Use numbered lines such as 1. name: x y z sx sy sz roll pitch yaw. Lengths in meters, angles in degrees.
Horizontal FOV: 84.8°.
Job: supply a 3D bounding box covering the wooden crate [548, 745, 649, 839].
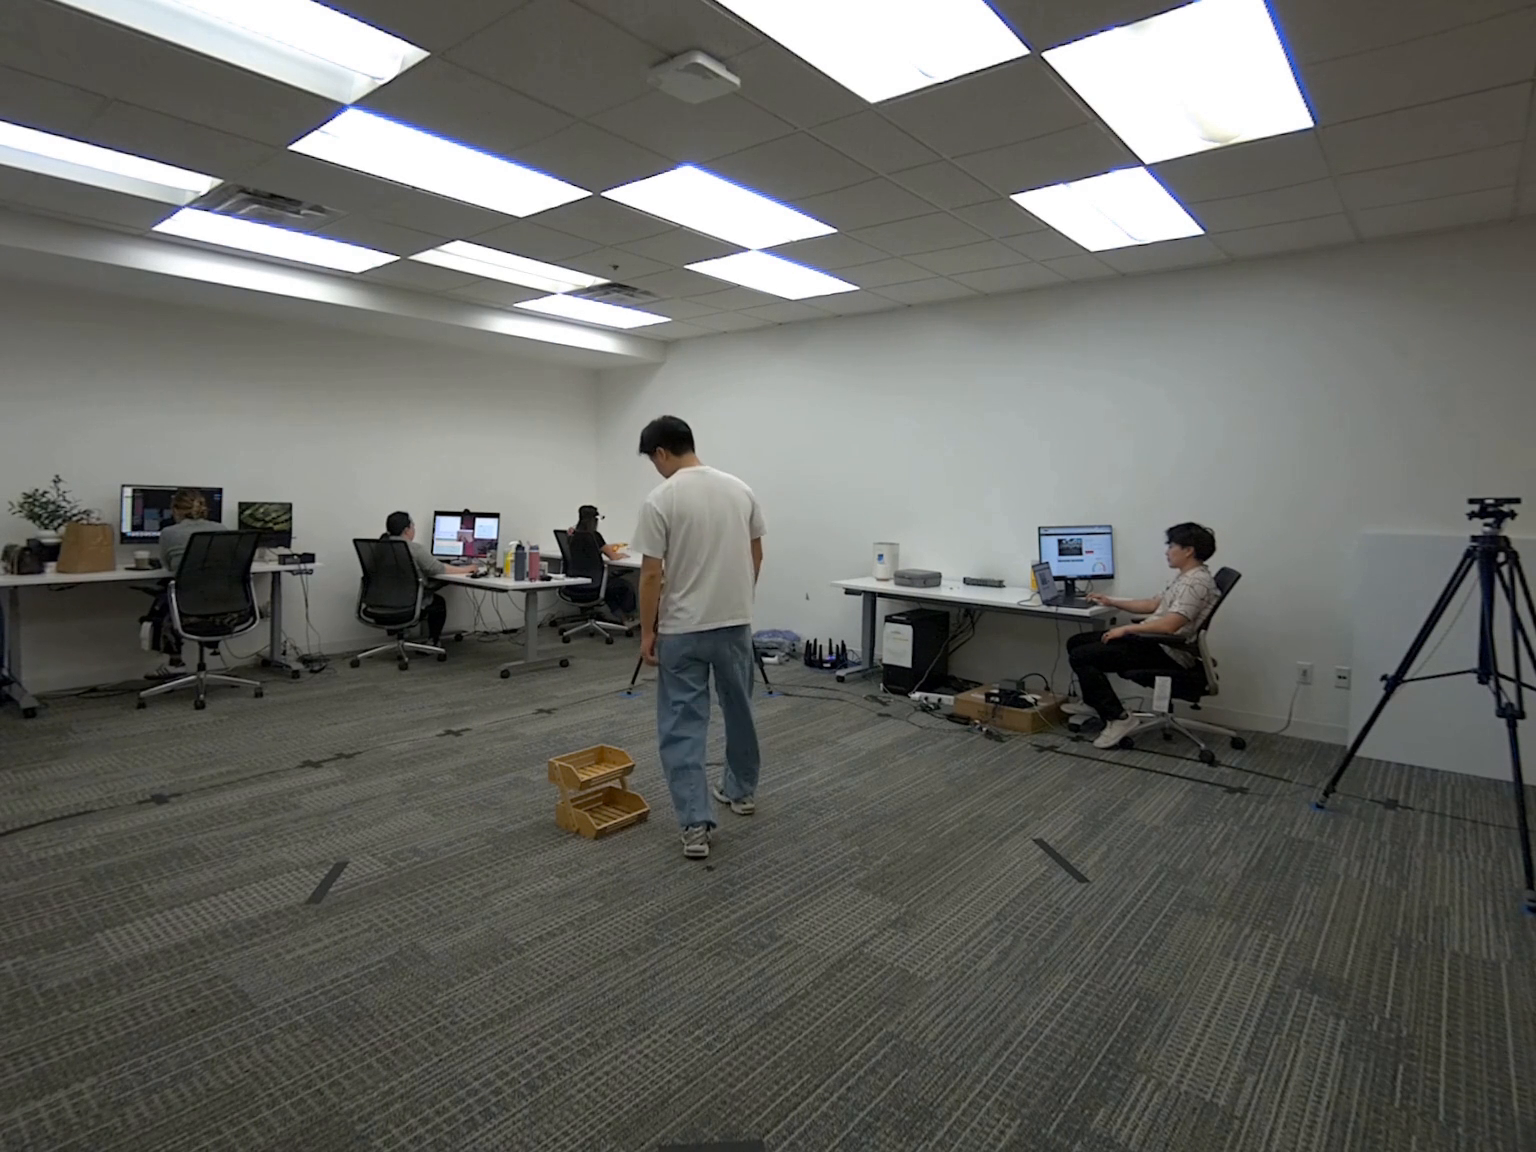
1. wooden crate: -0.713 0.883 3.537 0.312 0.273 0.315 2 4 38
